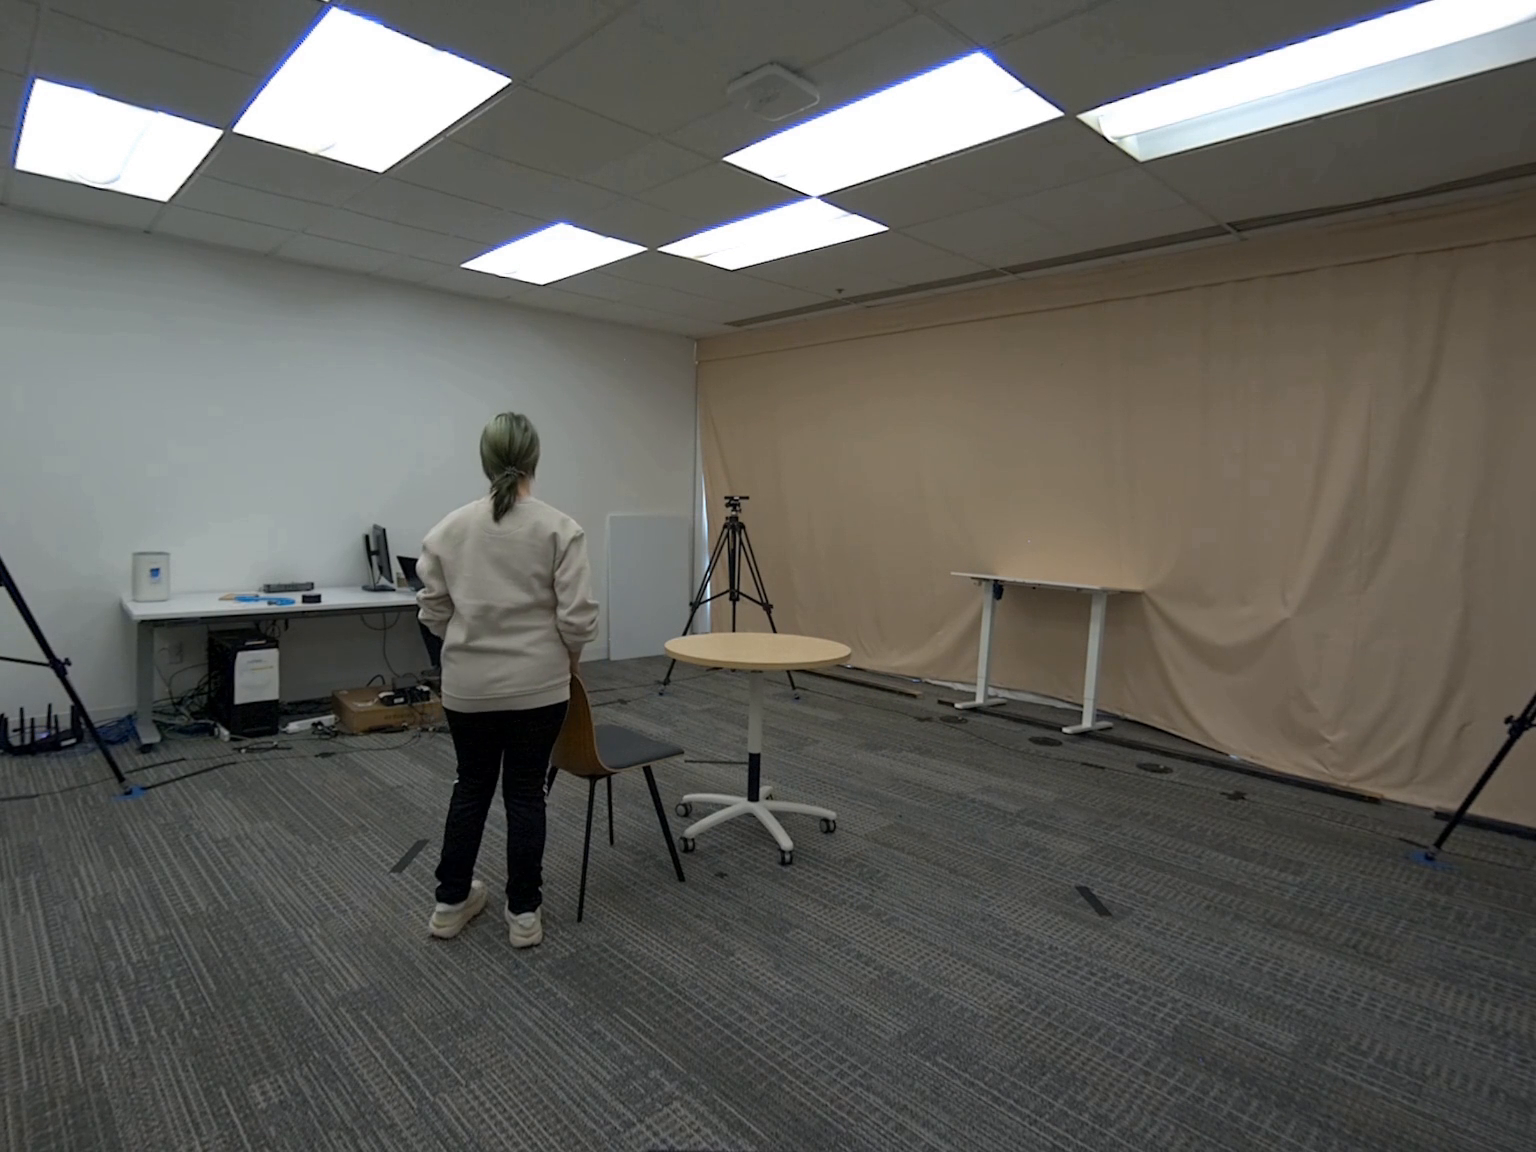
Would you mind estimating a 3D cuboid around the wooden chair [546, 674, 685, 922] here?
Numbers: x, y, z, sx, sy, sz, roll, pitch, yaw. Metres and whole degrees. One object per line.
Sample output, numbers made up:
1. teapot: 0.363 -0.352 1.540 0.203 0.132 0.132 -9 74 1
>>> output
1. wooden chair: -0.604 0.673 3.027 0.512 0.873 0.490 -8 9 -44
